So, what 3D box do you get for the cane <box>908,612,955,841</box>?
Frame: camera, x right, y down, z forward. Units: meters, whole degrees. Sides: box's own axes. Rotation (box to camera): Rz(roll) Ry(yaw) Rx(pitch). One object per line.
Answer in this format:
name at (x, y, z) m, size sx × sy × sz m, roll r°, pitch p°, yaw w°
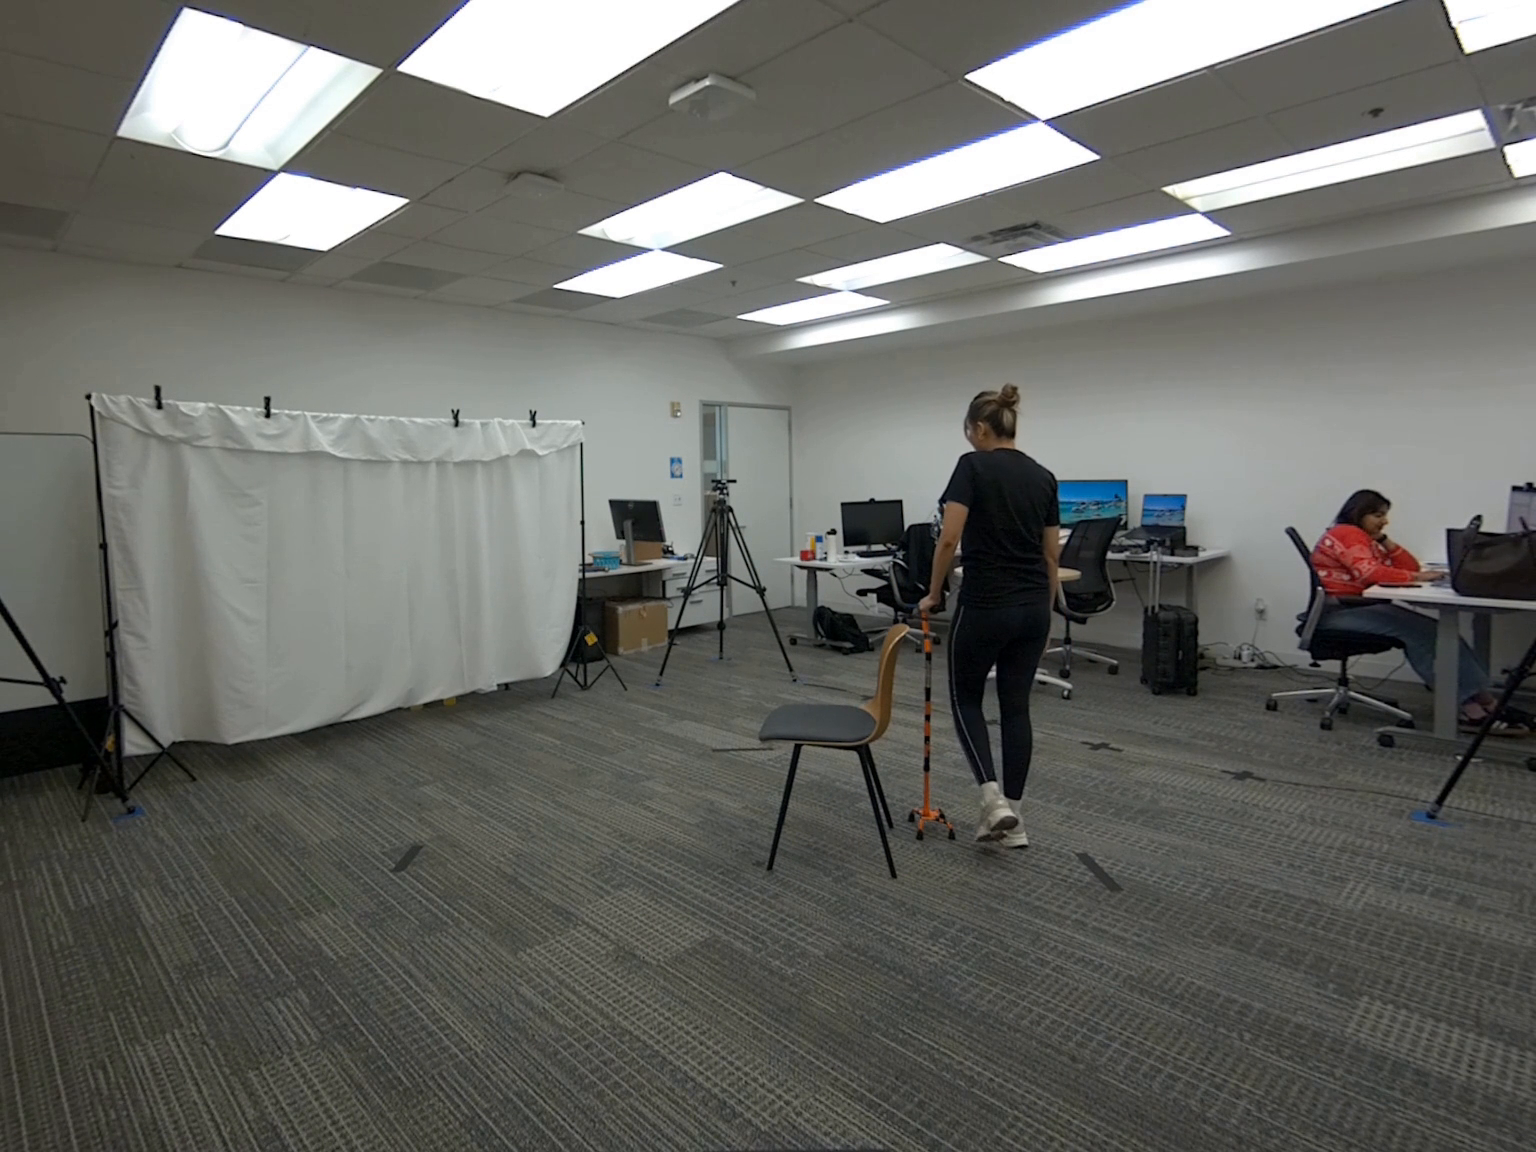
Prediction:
cane at (0.644, 0.559, 3.362) m, size 0.151 × 0.904 × 0.207 m, roll 0°, pitch 4°, yaw -2°
